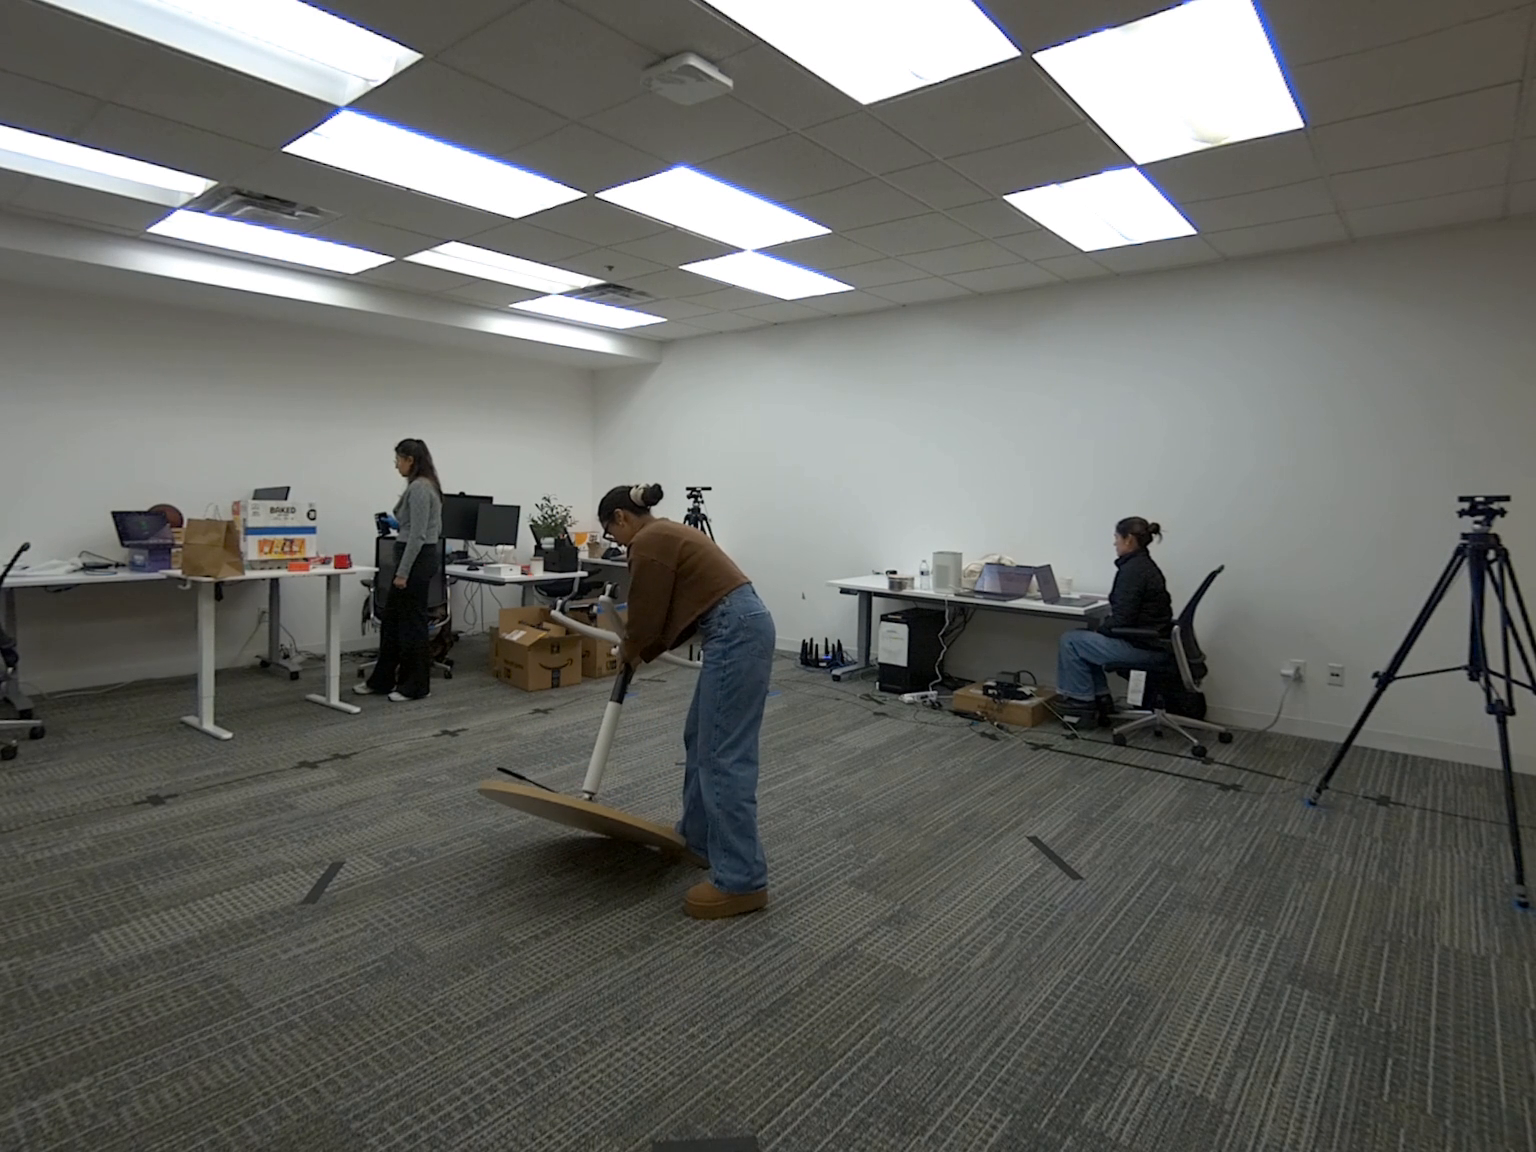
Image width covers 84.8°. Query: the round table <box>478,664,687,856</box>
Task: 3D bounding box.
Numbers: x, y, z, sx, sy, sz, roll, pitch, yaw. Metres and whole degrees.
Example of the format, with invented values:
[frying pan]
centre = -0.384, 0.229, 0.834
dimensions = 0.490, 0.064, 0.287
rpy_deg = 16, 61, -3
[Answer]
[round table]
centre = -0.610, 0.519, 3.206
dimensions = 0.769, 0.806, 0.748
rpy_deg = 13, -24, 4
